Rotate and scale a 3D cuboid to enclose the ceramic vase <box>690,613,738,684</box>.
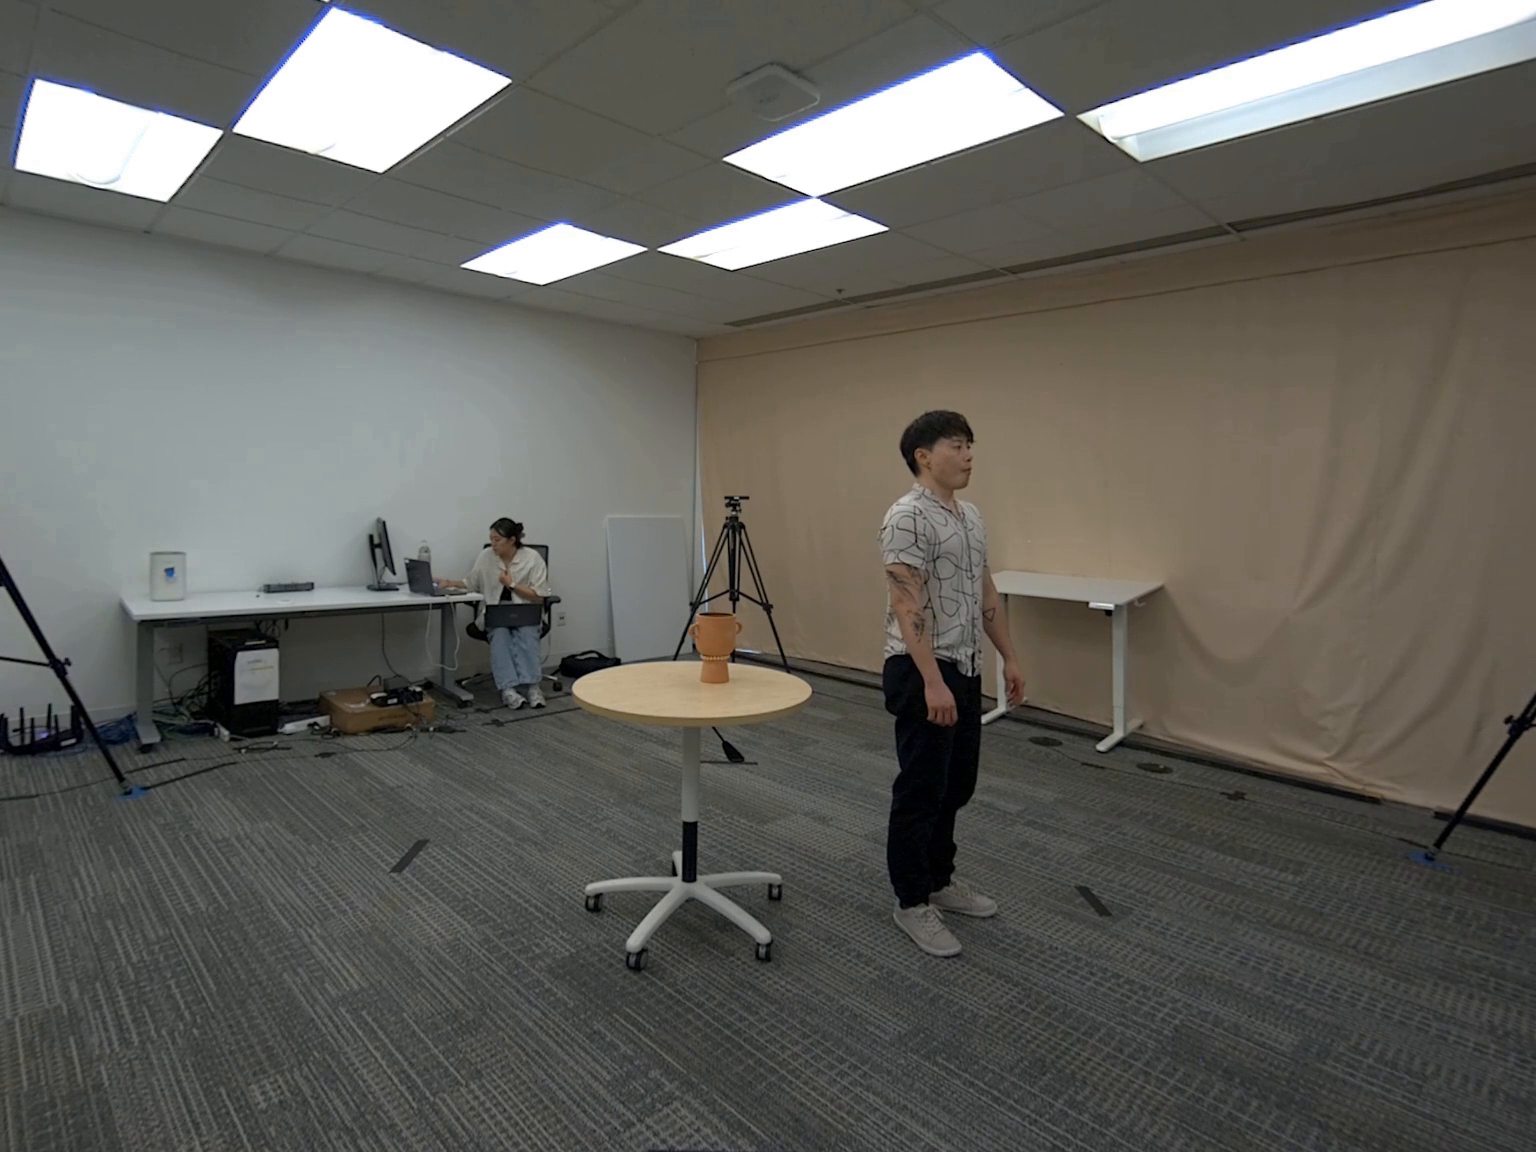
[{"bbox_3d":[-0.177,0.238,2.788,0.160,0.219,0.134,2,4,9],"label":"ceramic vase"}]
